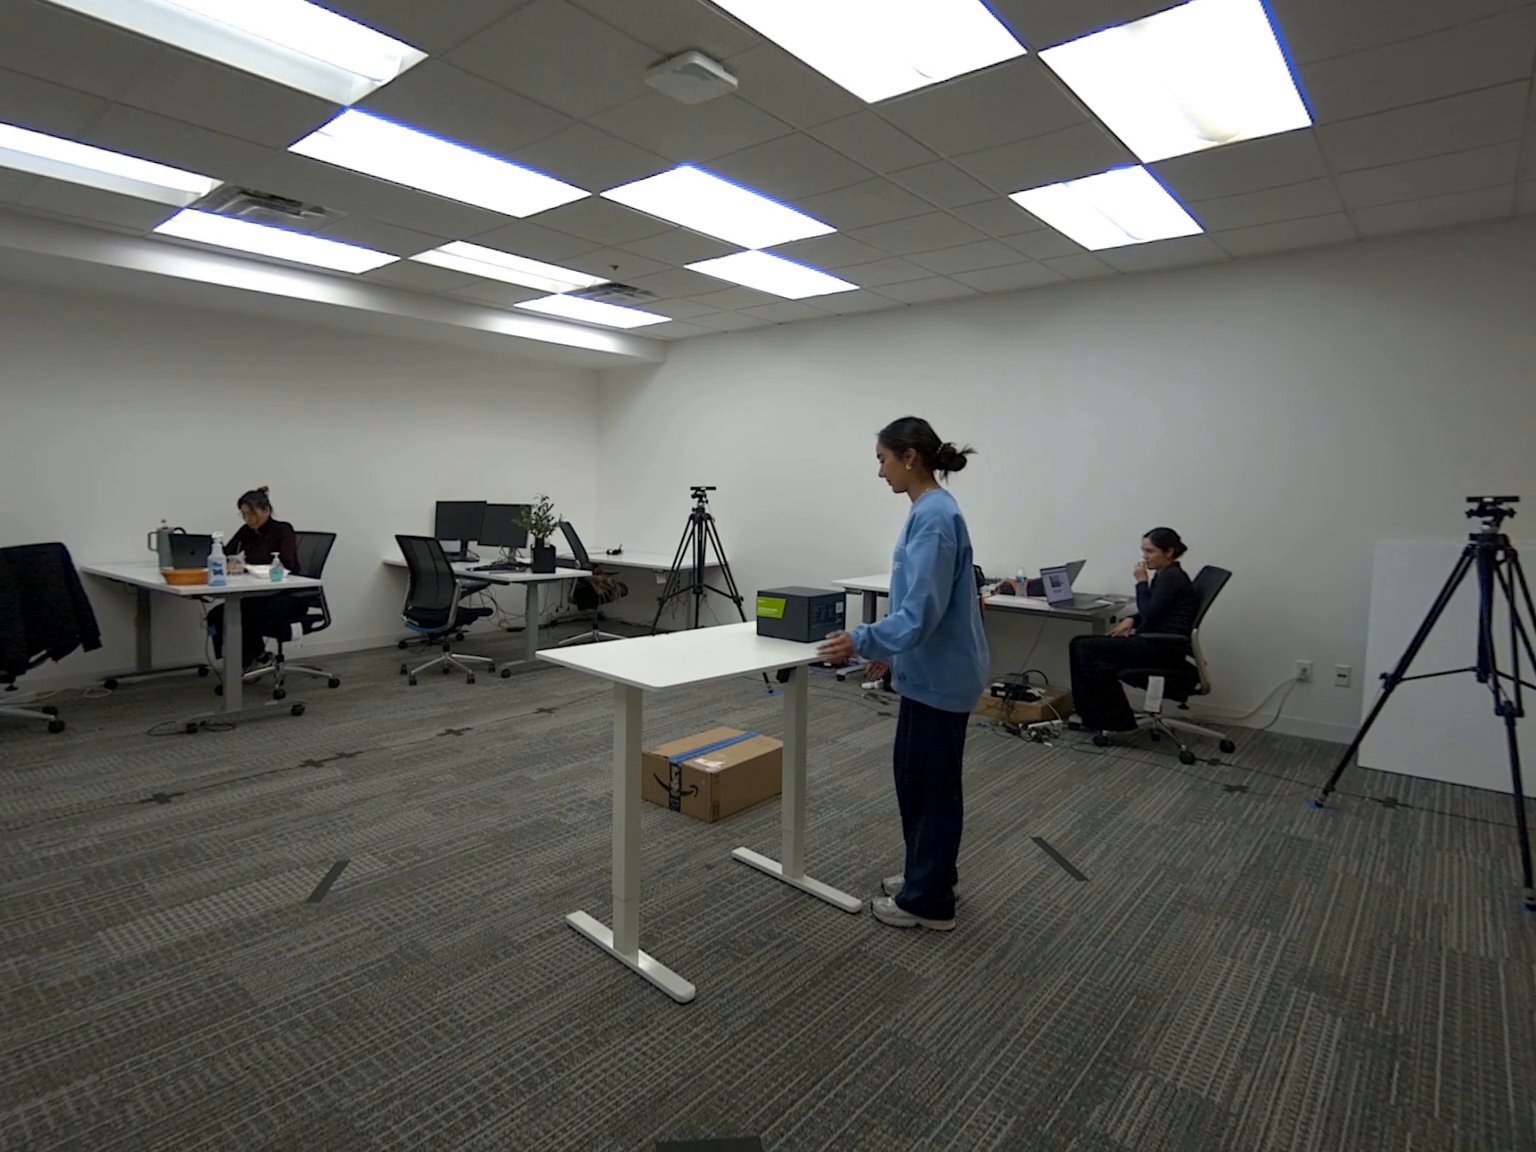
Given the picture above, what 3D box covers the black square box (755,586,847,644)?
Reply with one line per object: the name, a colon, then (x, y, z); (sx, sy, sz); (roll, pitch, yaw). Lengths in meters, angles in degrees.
black square box: (0.105, 0.124, 2.943); (0.236, 0.155, 0.211); (5, 7, 40)
